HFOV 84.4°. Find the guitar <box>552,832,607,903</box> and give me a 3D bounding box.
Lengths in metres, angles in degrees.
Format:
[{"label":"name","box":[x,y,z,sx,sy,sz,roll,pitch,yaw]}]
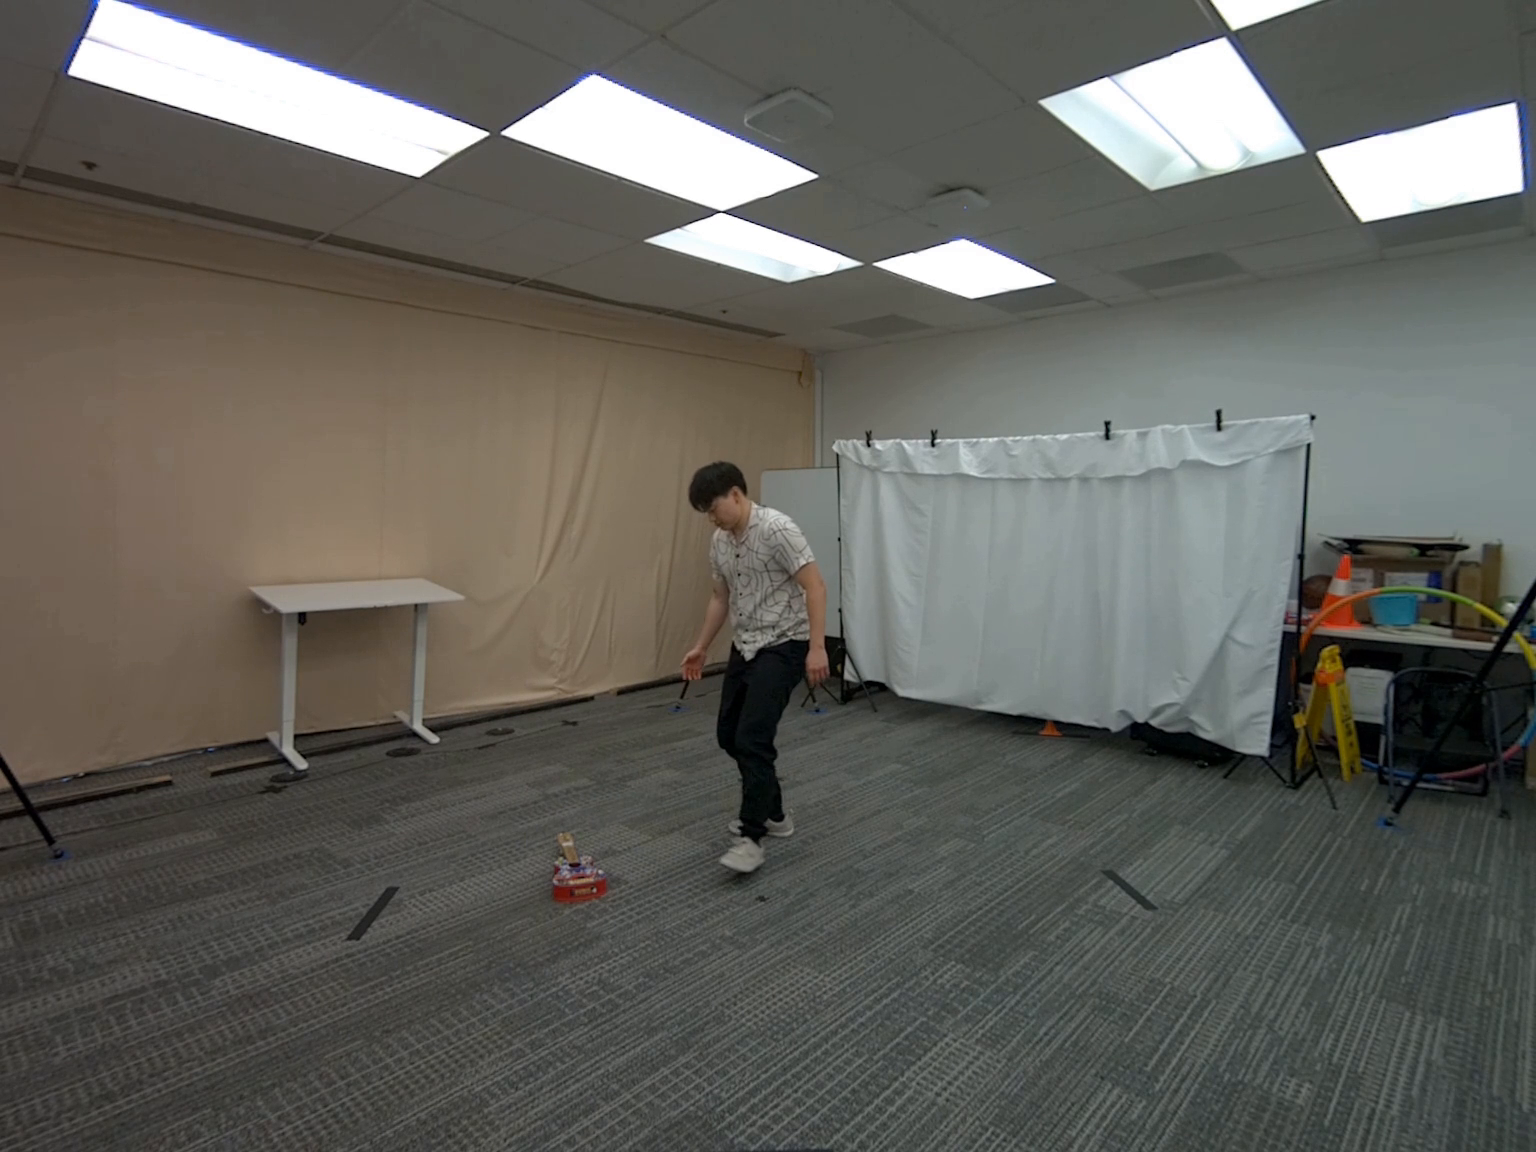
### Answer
[{"label":"guitar","box":[-0.723,1.099,3.216,0.191,0.070,0.505,-2,5,-12]}]
